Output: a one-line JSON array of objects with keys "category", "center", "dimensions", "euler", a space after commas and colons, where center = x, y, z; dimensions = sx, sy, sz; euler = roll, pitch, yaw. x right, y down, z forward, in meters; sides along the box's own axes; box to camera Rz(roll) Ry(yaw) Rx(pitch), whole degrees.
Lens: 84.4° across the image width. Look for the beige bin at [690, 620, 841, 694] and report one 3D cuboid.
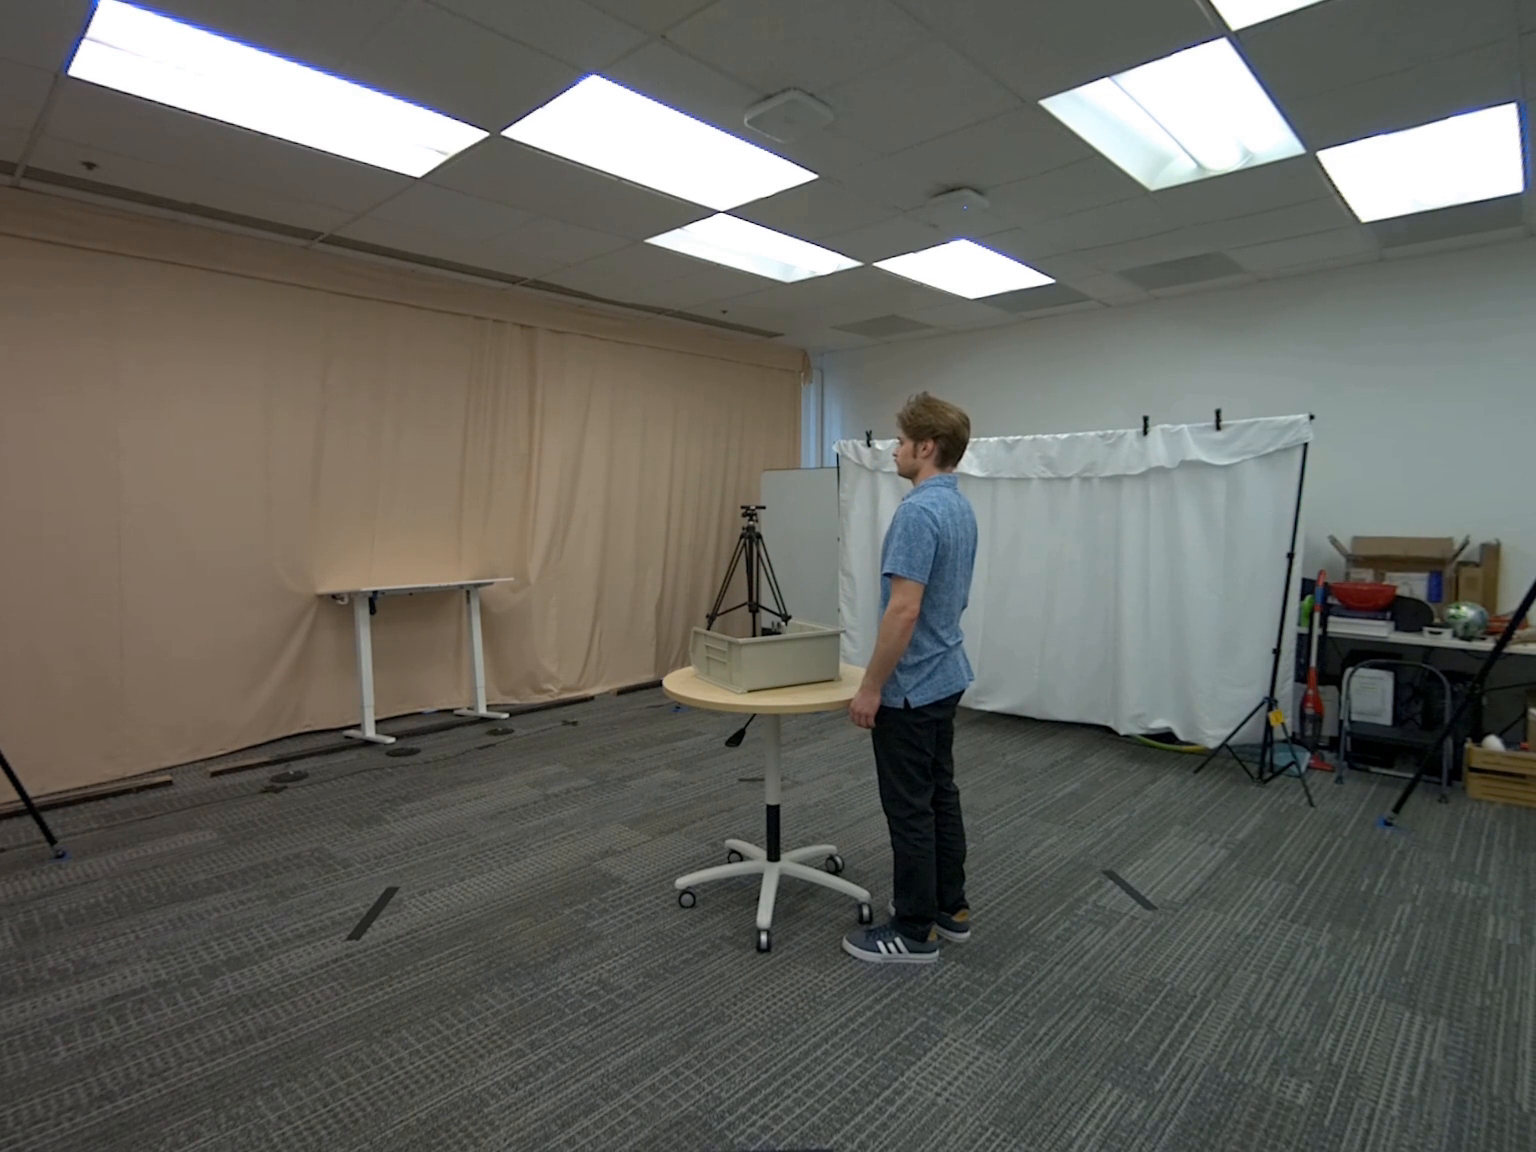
[{"category": "beige bin", "center": [-0.002, 0.270, 2.942], "dimensions": [0.411, 0.188, 0.388], "euler": [-3, 6, -29]}]
